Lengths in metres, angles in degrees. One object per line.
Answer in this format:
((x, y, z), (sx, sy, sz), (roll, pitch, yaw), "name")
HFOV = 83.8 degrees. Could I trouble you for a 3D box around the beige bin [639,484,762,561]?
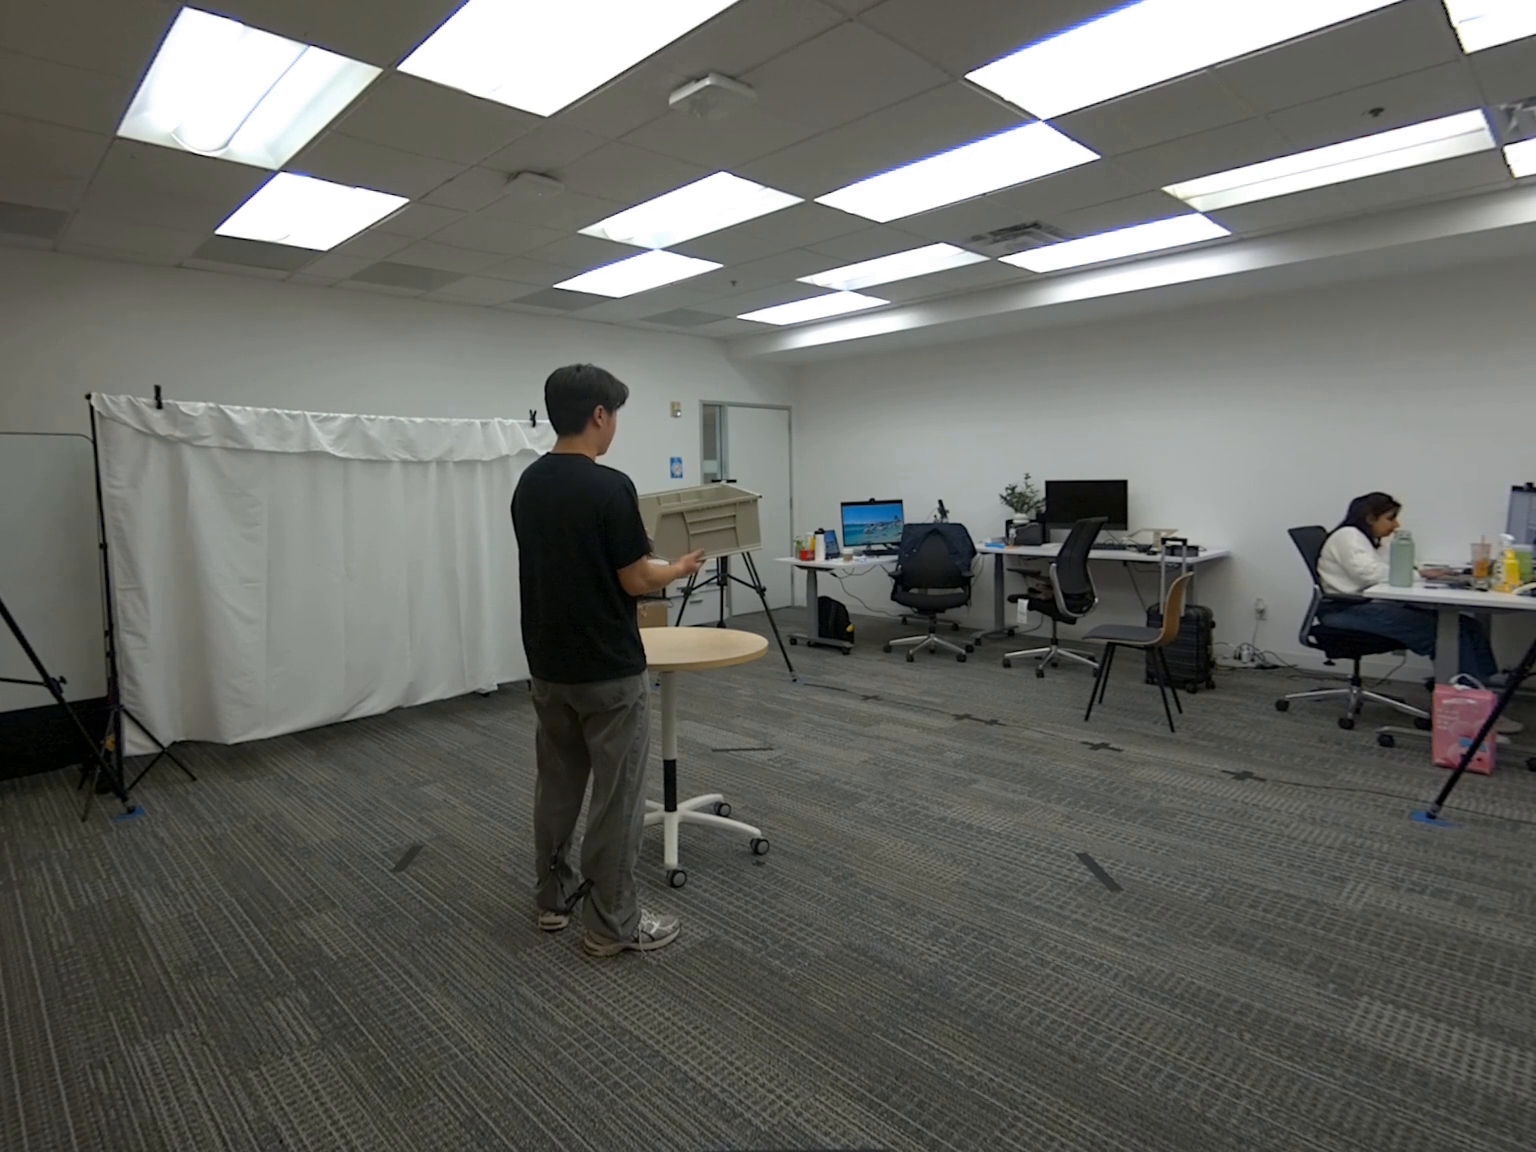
((-0.252, -0.184, 2.912), (0.372, 0.187, 0.433), (-9, 13, -18), "beige bin")
